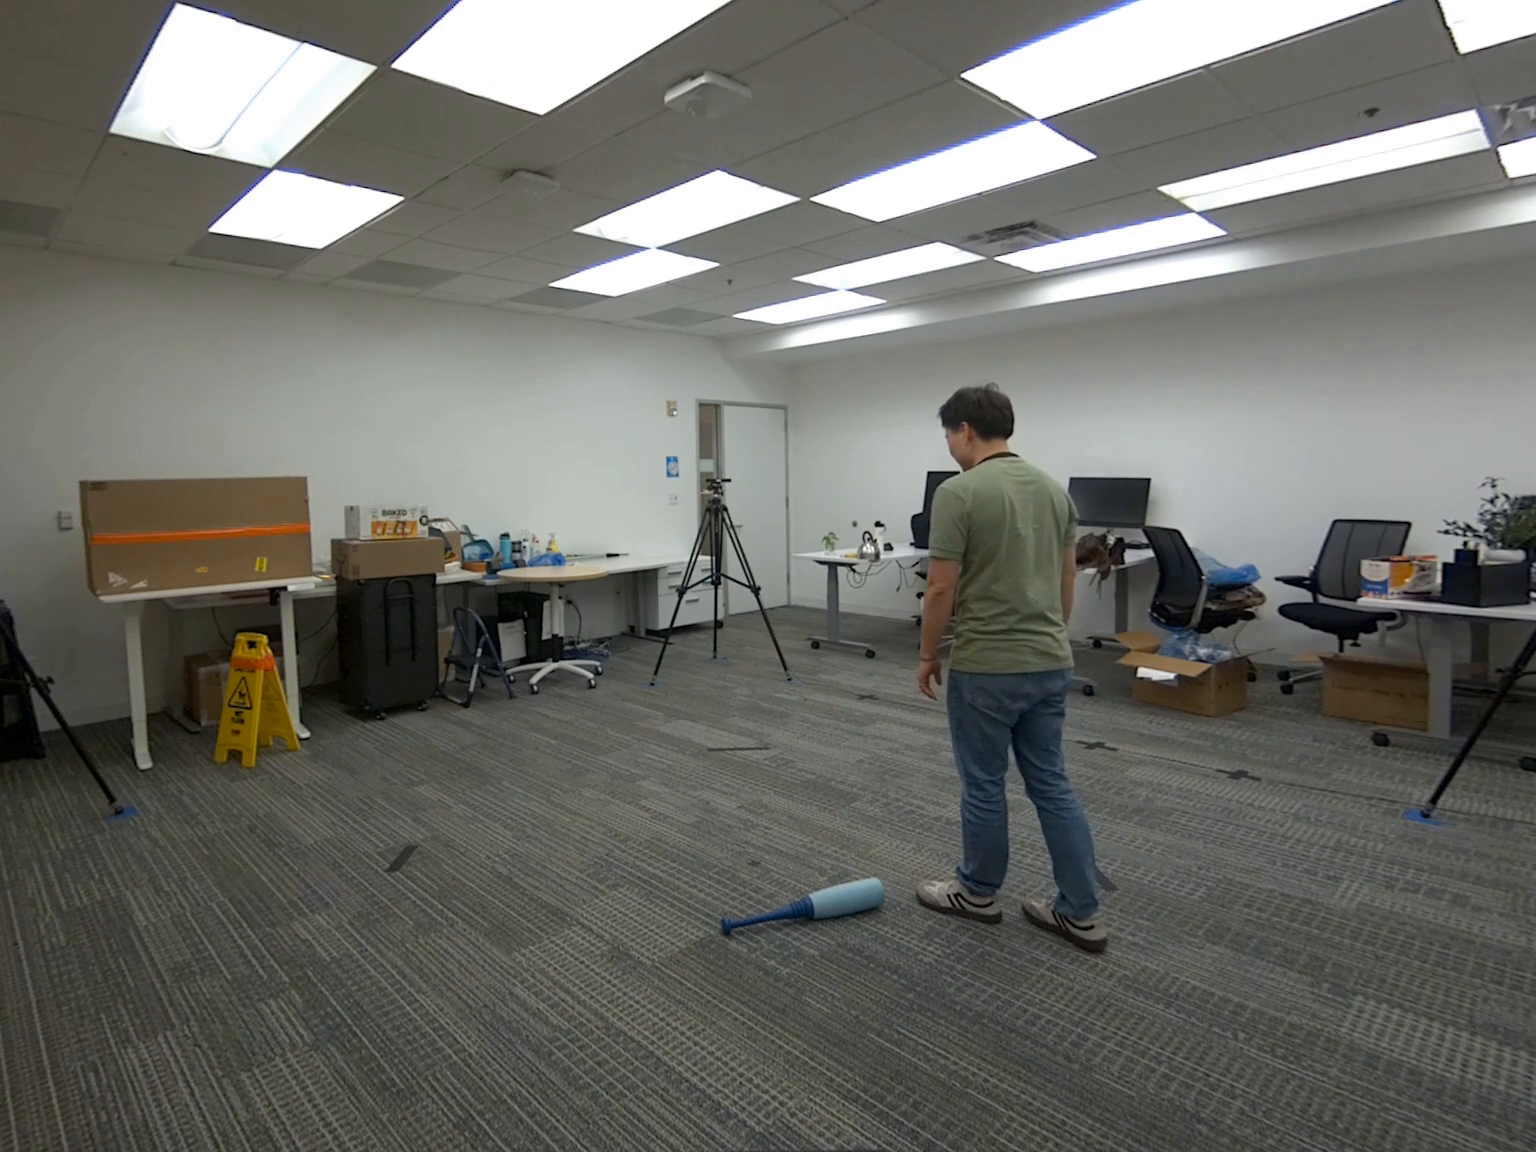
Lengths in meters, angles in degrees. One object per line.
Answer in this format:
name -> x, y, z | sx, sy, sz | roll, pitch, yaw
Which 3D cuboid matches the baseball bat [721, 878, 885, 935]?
baseball bat -> 0.118, 1.056, 2.703 | 0.536, 0.088, 0.091 | -6, 6, -15
